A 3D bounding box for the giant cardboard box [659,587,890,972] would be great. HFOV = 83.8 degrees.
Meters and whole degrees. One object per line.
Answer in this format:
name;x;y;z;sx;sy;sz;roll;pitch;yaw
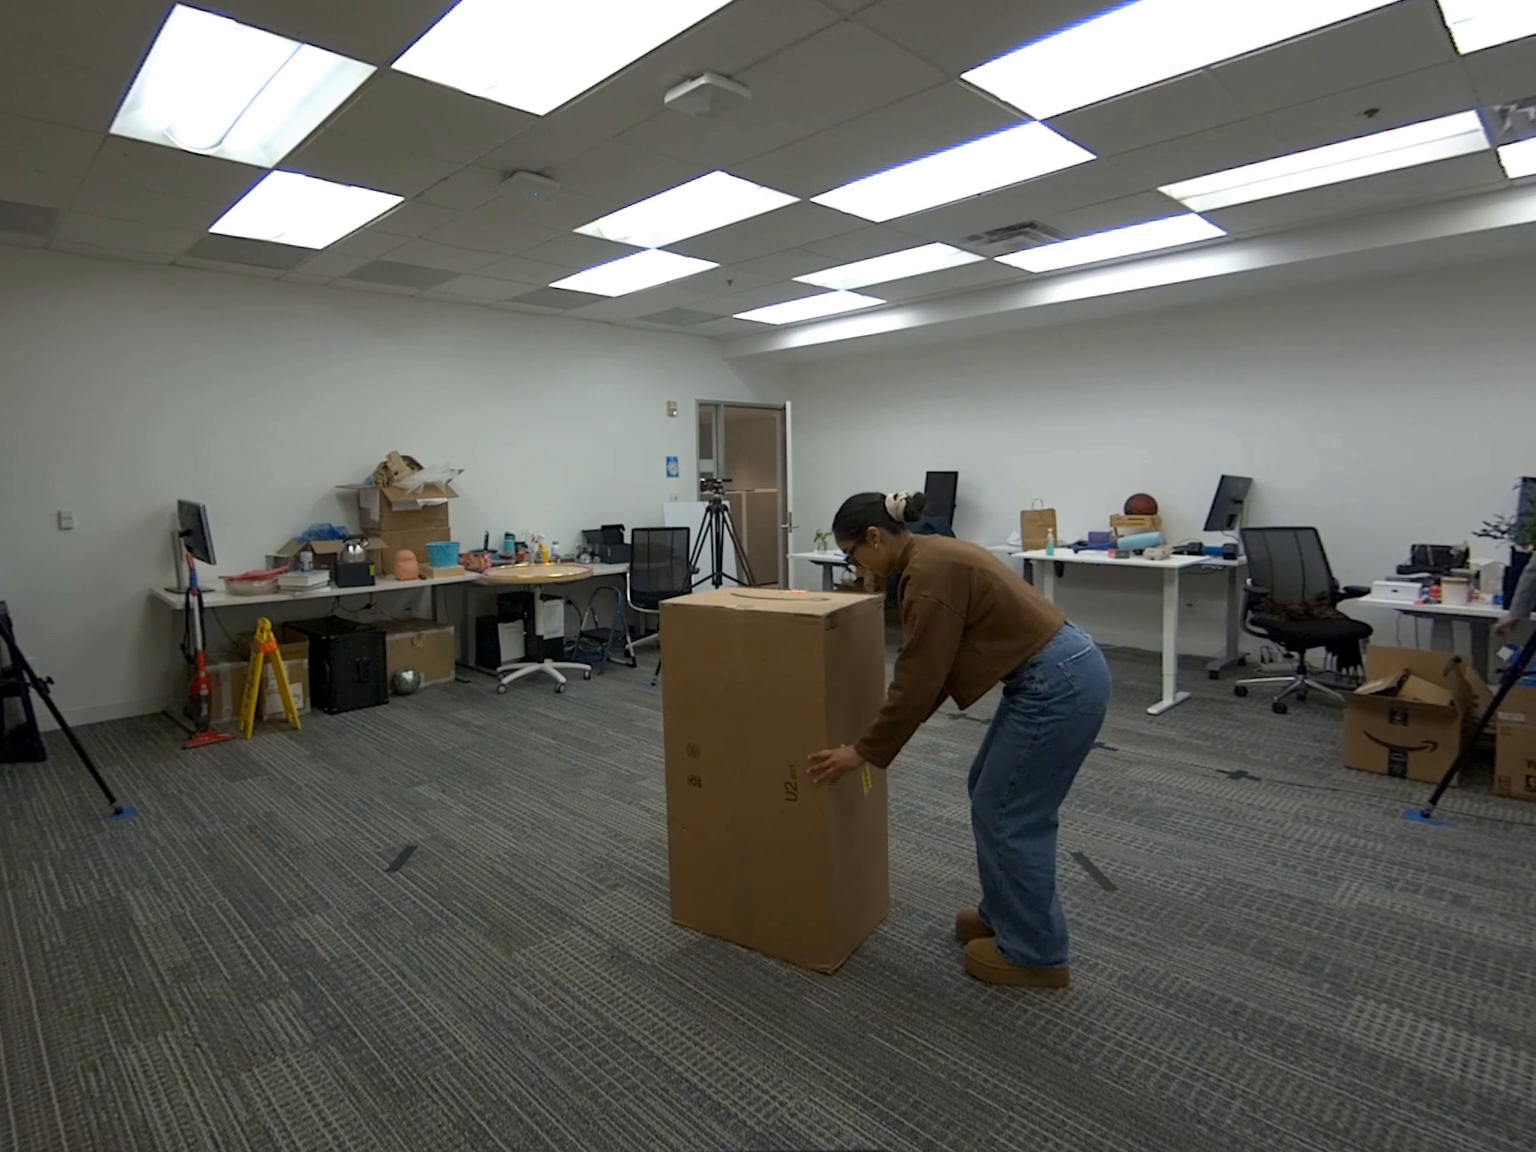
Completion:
giant cardboard box;0.029;0.582;2.698;0.593;1.022;0.416;1;4;32
